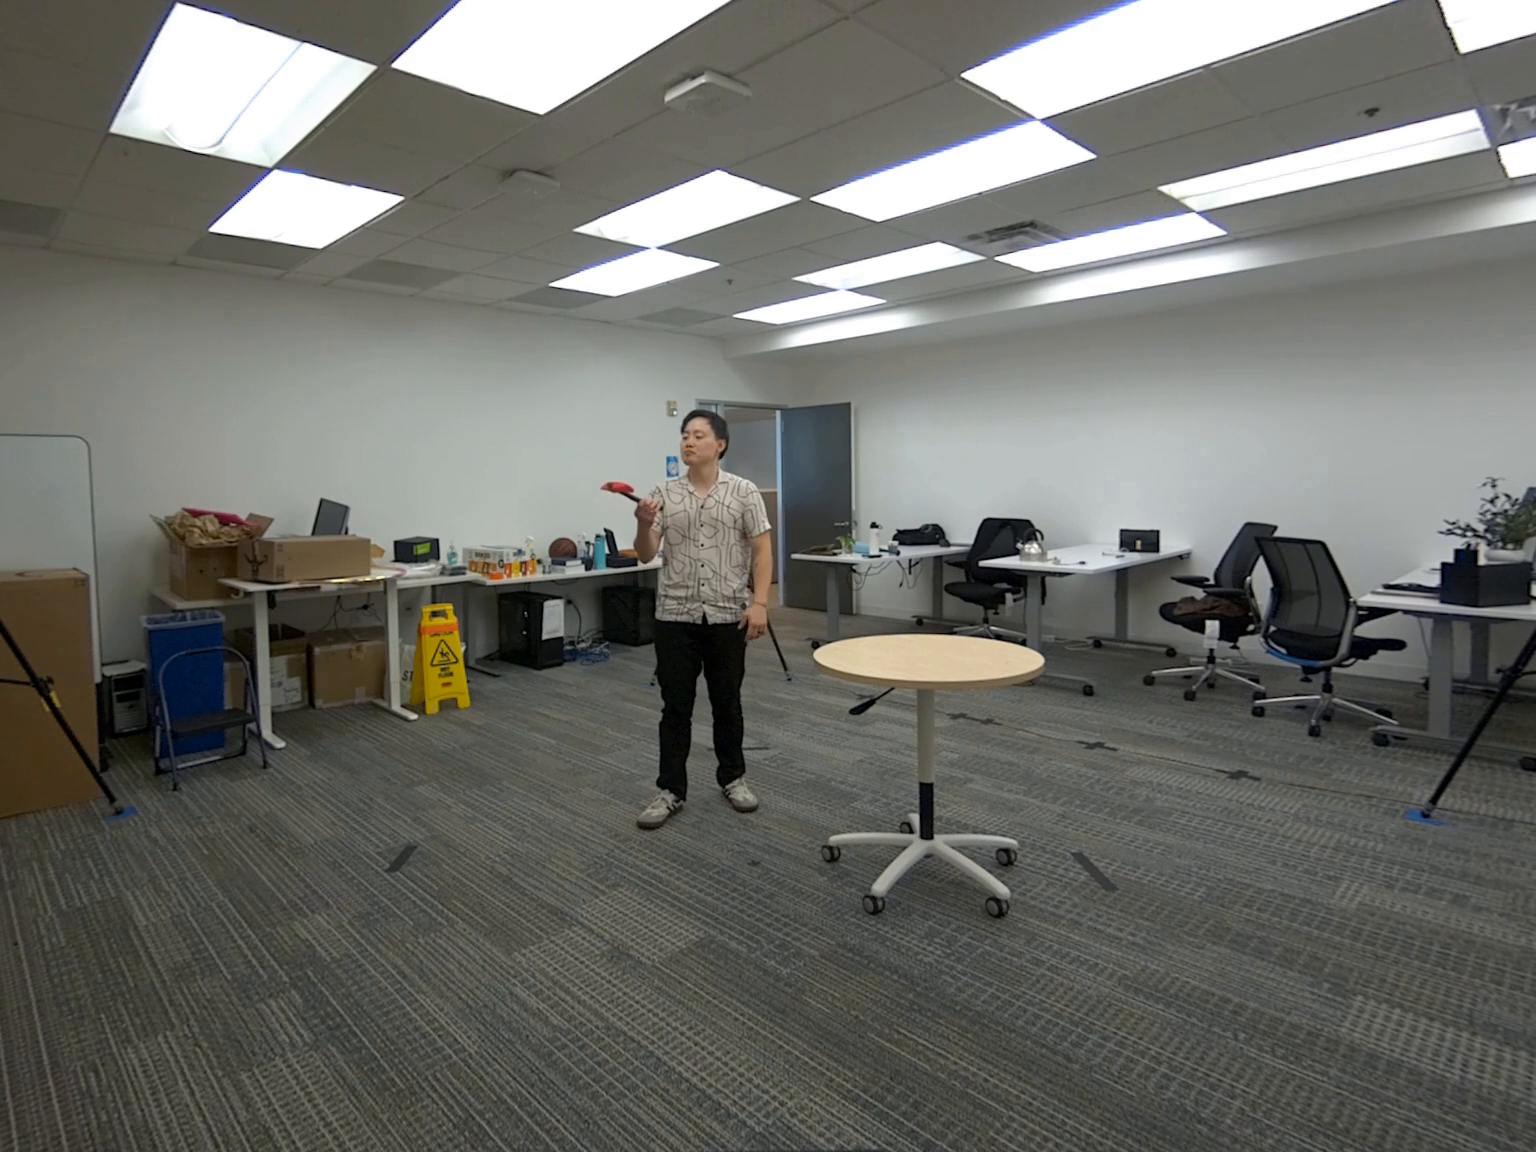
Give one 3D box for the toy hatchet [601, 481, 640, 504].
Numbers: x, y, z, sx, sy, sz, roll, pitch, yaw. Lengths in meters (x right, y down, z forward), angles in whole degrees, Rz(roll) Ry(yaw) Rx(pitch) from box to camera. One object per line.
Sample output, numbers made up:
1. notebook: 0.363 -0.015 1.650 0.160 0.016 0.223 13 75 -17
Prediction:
1. toy hatchet: -0.491 -0.292 3.173 0.260 0.030 0.134 21 -21 -38
